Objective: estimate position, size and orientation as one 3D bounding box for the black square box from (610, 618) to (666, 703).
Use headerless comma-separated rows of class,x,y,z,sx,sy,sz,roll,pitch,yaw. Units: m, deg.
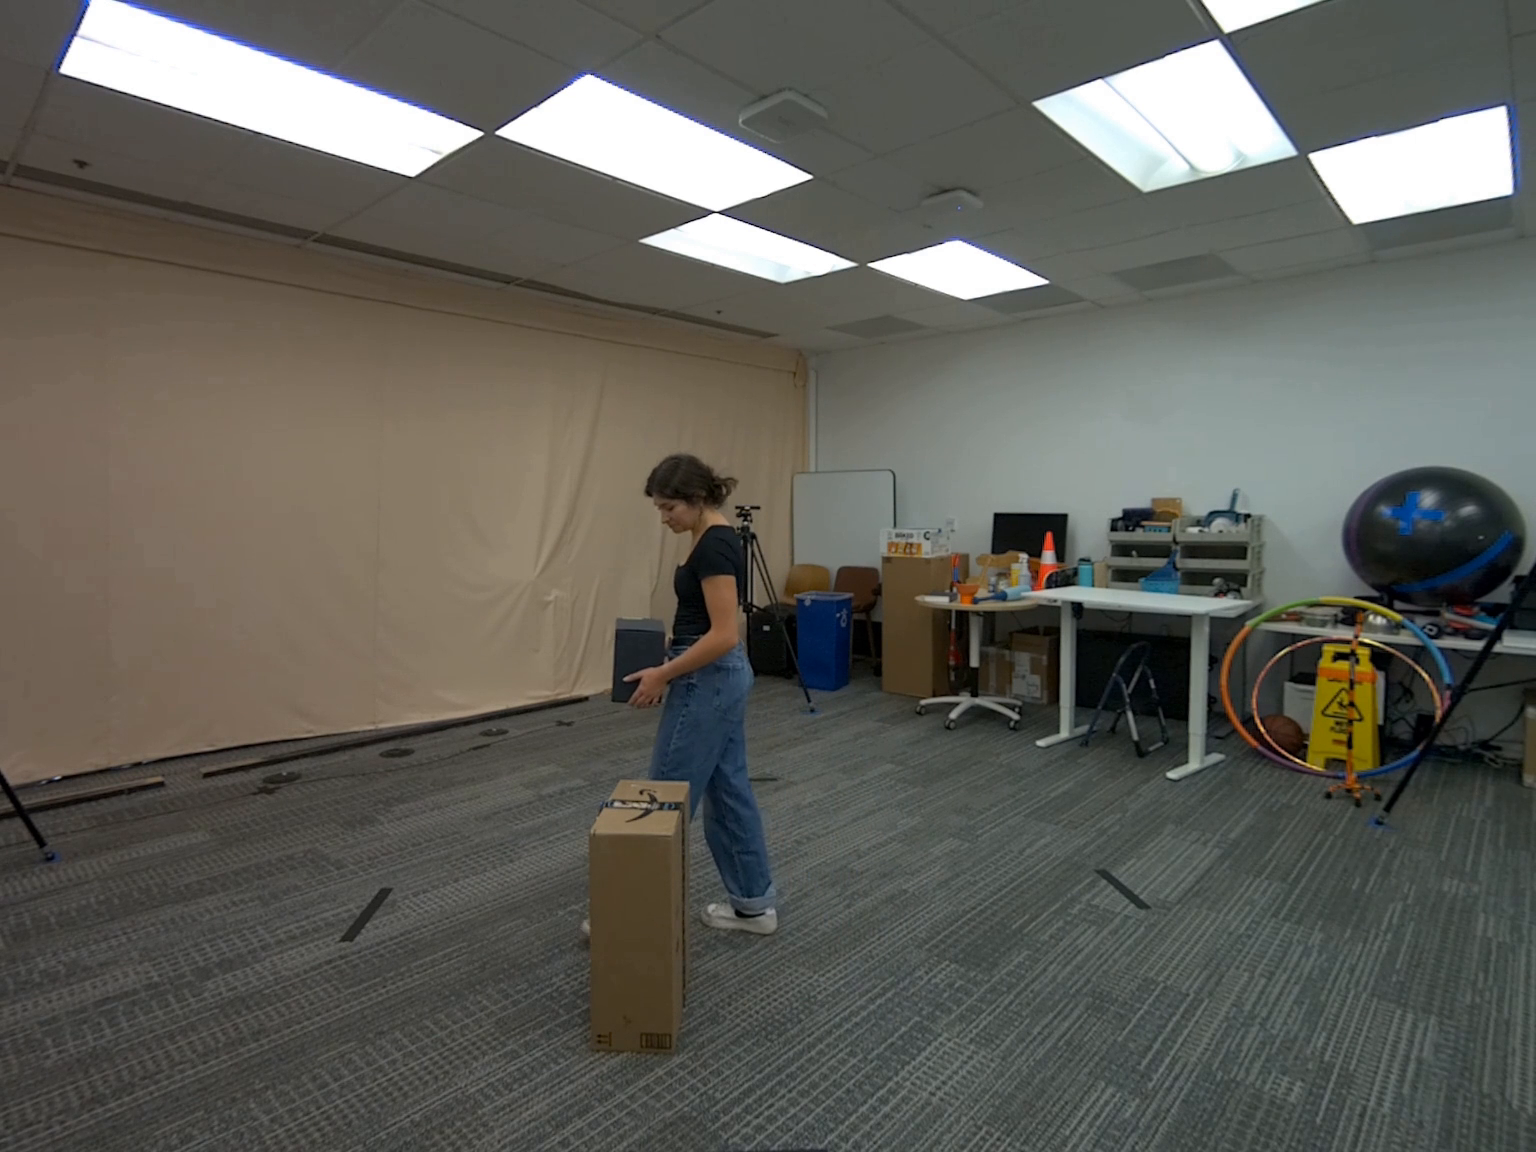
black square box,-0.424,0.264,2.719,0.154,0.227,0.220,3,6,-11
